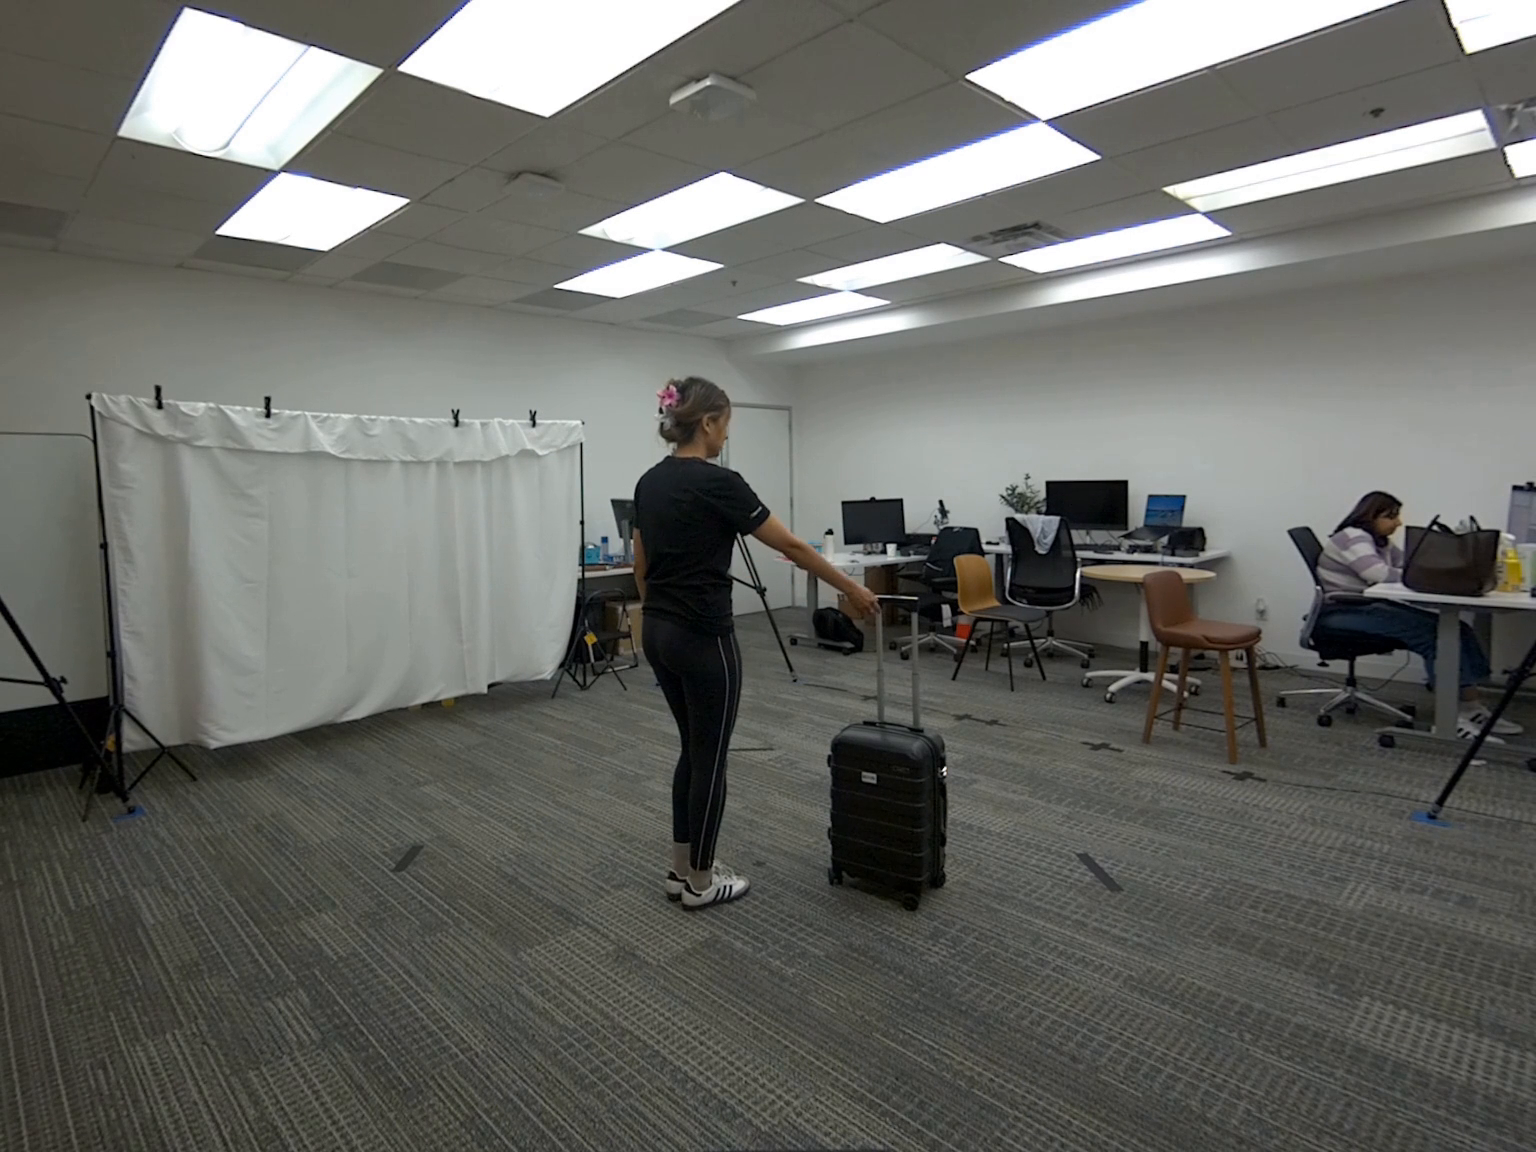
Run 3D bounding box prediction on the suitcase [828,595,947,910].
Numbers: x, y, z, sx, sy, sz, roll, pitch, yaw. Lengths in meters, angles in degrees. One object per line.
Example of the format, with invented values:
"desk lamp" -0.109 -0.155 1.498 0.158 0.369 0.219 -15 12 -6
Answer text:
"suitcase" 0.416 0.589 2.901 0.394 0.973 0.252 2 7 30
